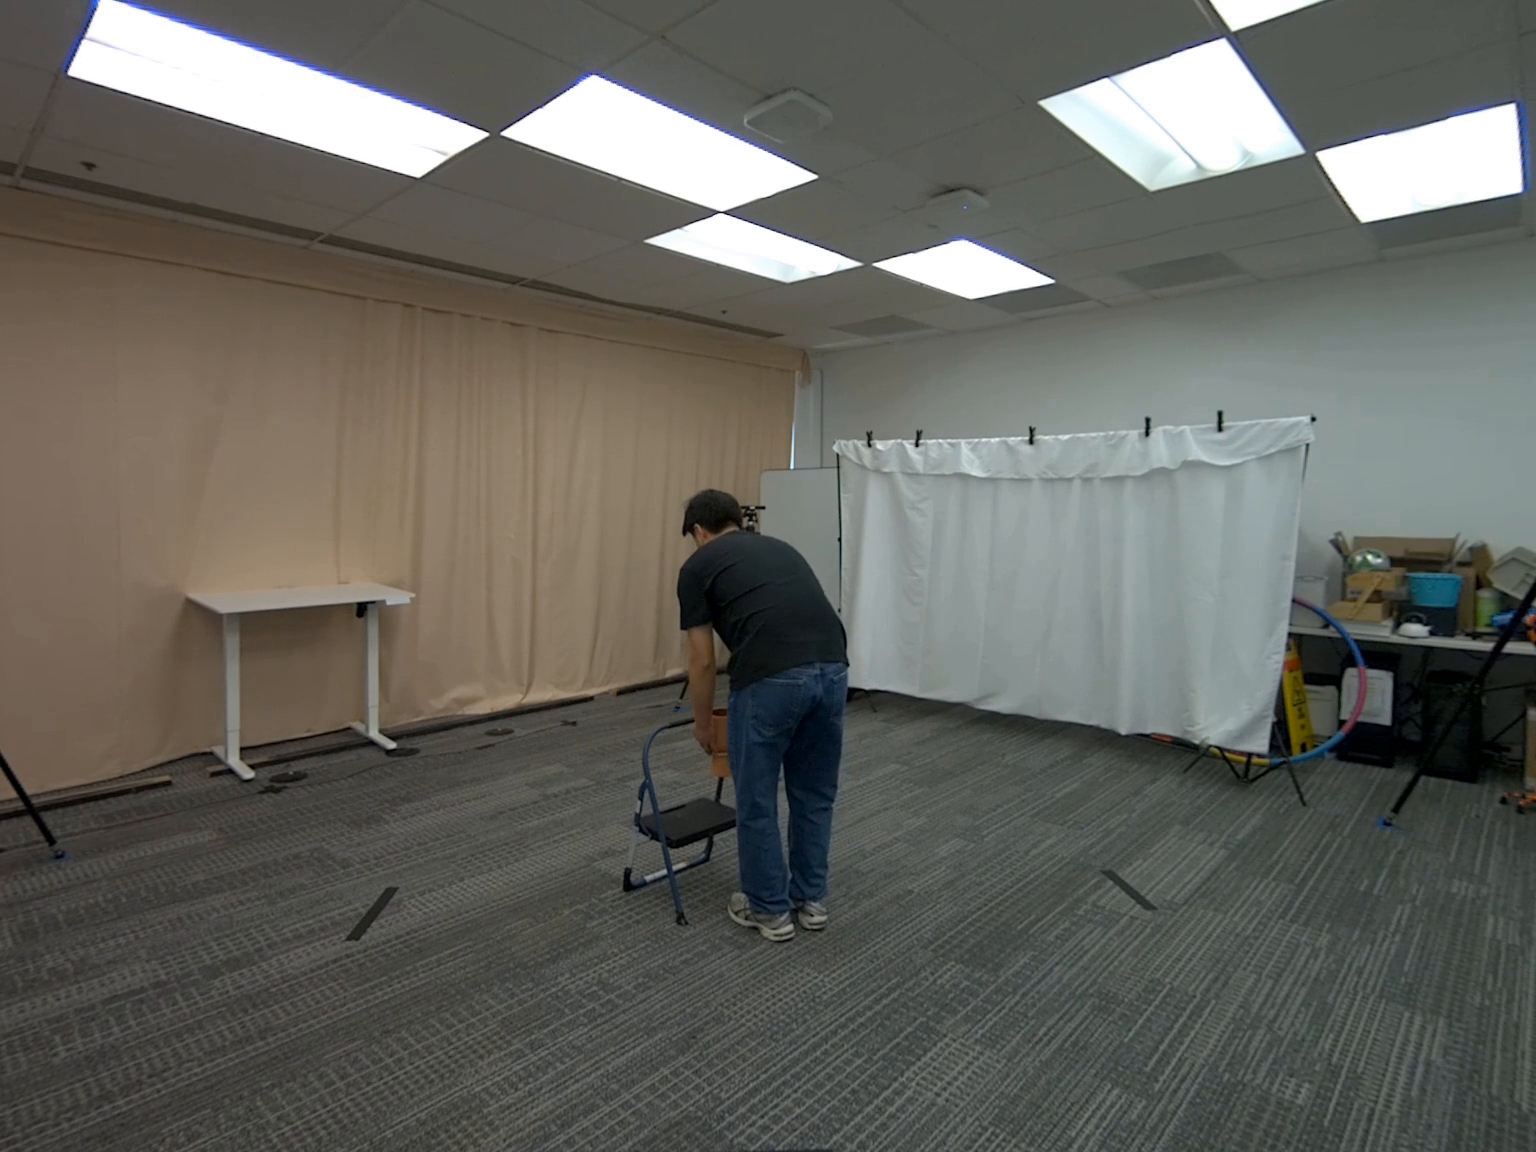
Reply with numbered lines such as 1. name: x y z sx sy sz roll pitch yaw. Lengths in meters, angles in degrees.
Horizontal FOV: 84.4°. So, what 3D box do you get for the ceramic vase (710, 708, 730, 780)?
1. ceramic vase: -0.165 0.595 3.012 0.164 0.219 0.131 4 5 33
